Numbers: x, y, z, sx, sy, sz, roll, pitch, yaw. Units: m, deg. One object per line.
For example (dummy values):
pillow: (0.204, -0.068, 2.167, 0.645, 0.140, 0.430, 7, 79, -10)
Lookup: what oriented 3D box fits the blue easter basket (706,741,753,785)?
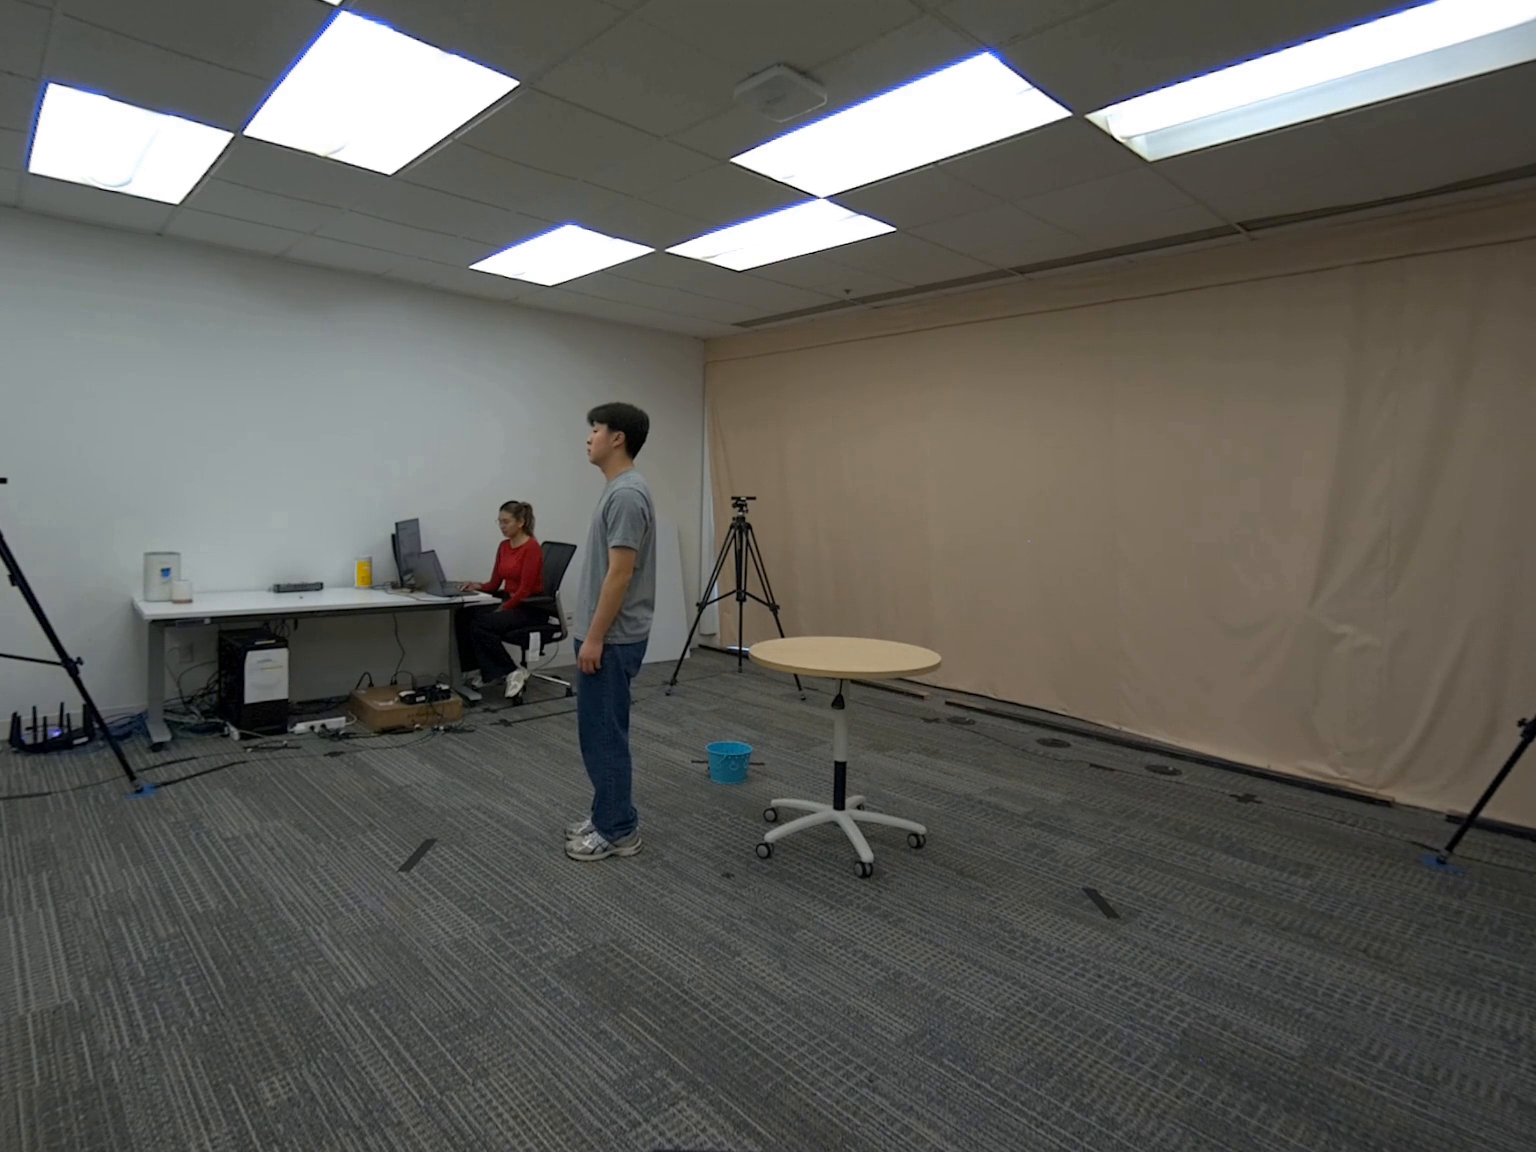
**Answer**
blue easter basket: (-0.206, 0.931, 4.215, 0.243, 0.155, 0.244, 2, 5, -2)
